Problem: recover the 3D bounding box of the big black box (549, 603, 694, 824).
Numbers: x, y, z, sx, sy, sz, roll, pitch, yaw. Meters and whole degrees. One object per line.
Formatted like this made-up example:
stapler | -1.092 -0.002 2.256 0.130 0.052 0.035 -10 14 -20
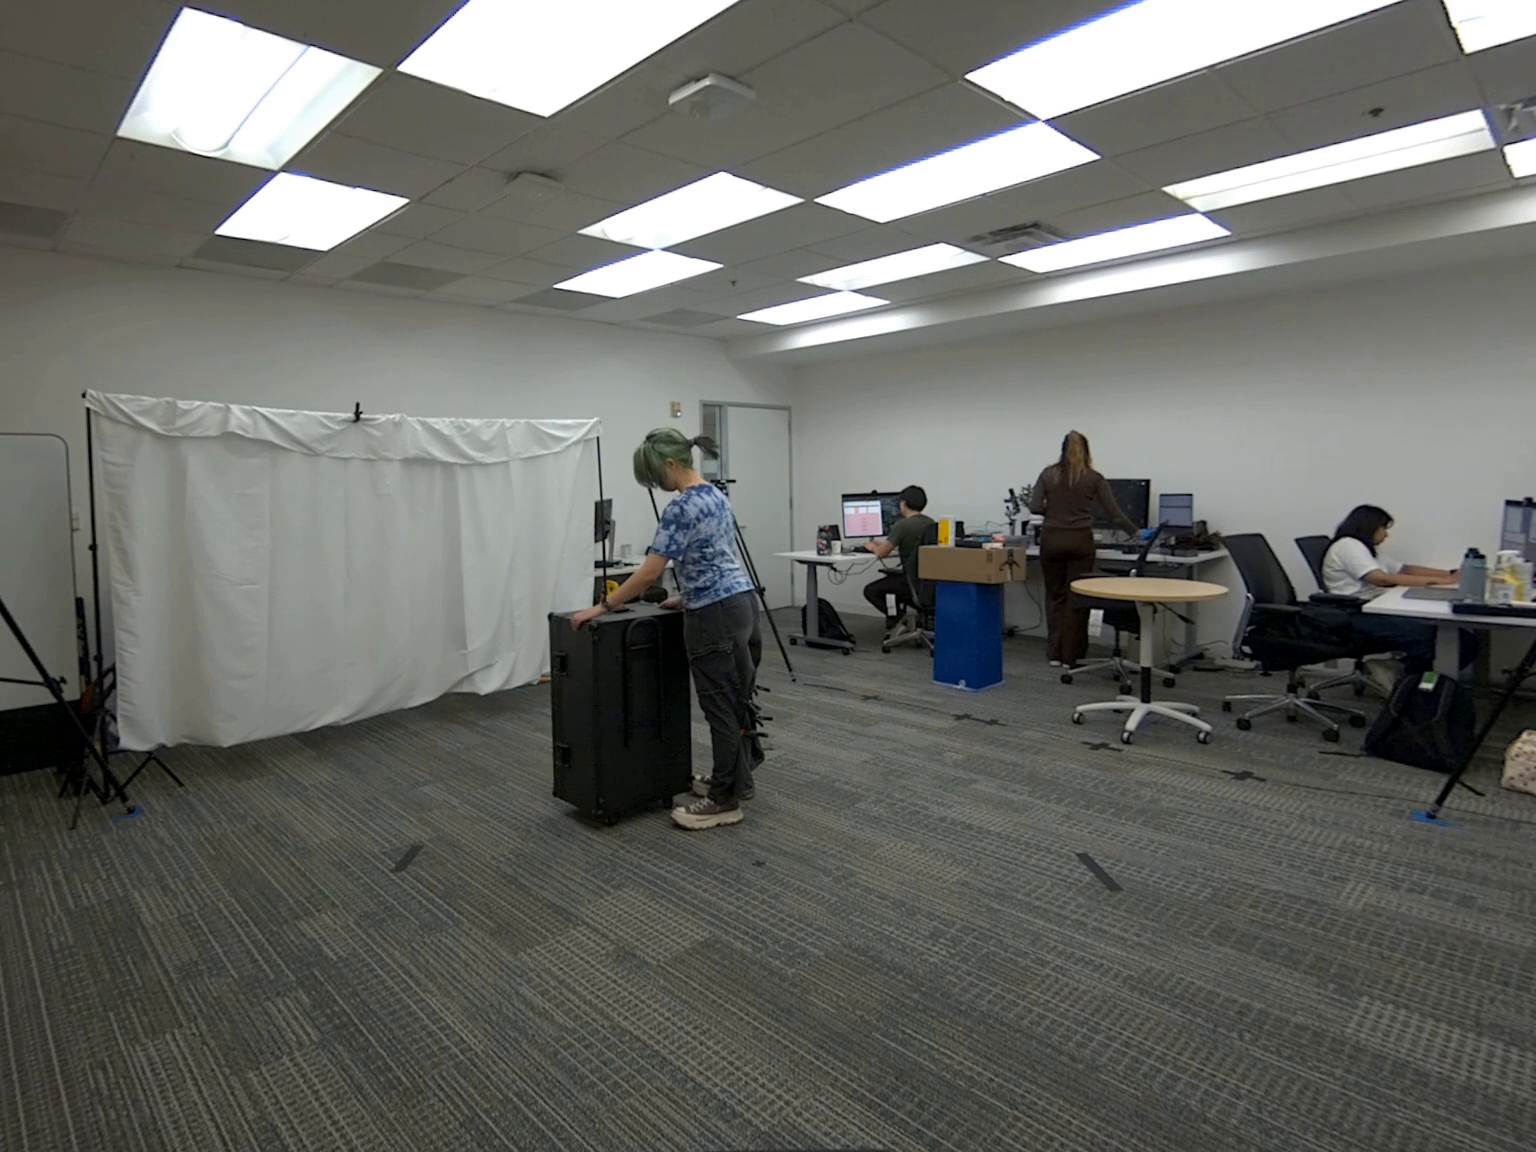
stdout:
big black box | -0.617 0.577 3.631 0.507 0.858 0.408 -4 5 -40
